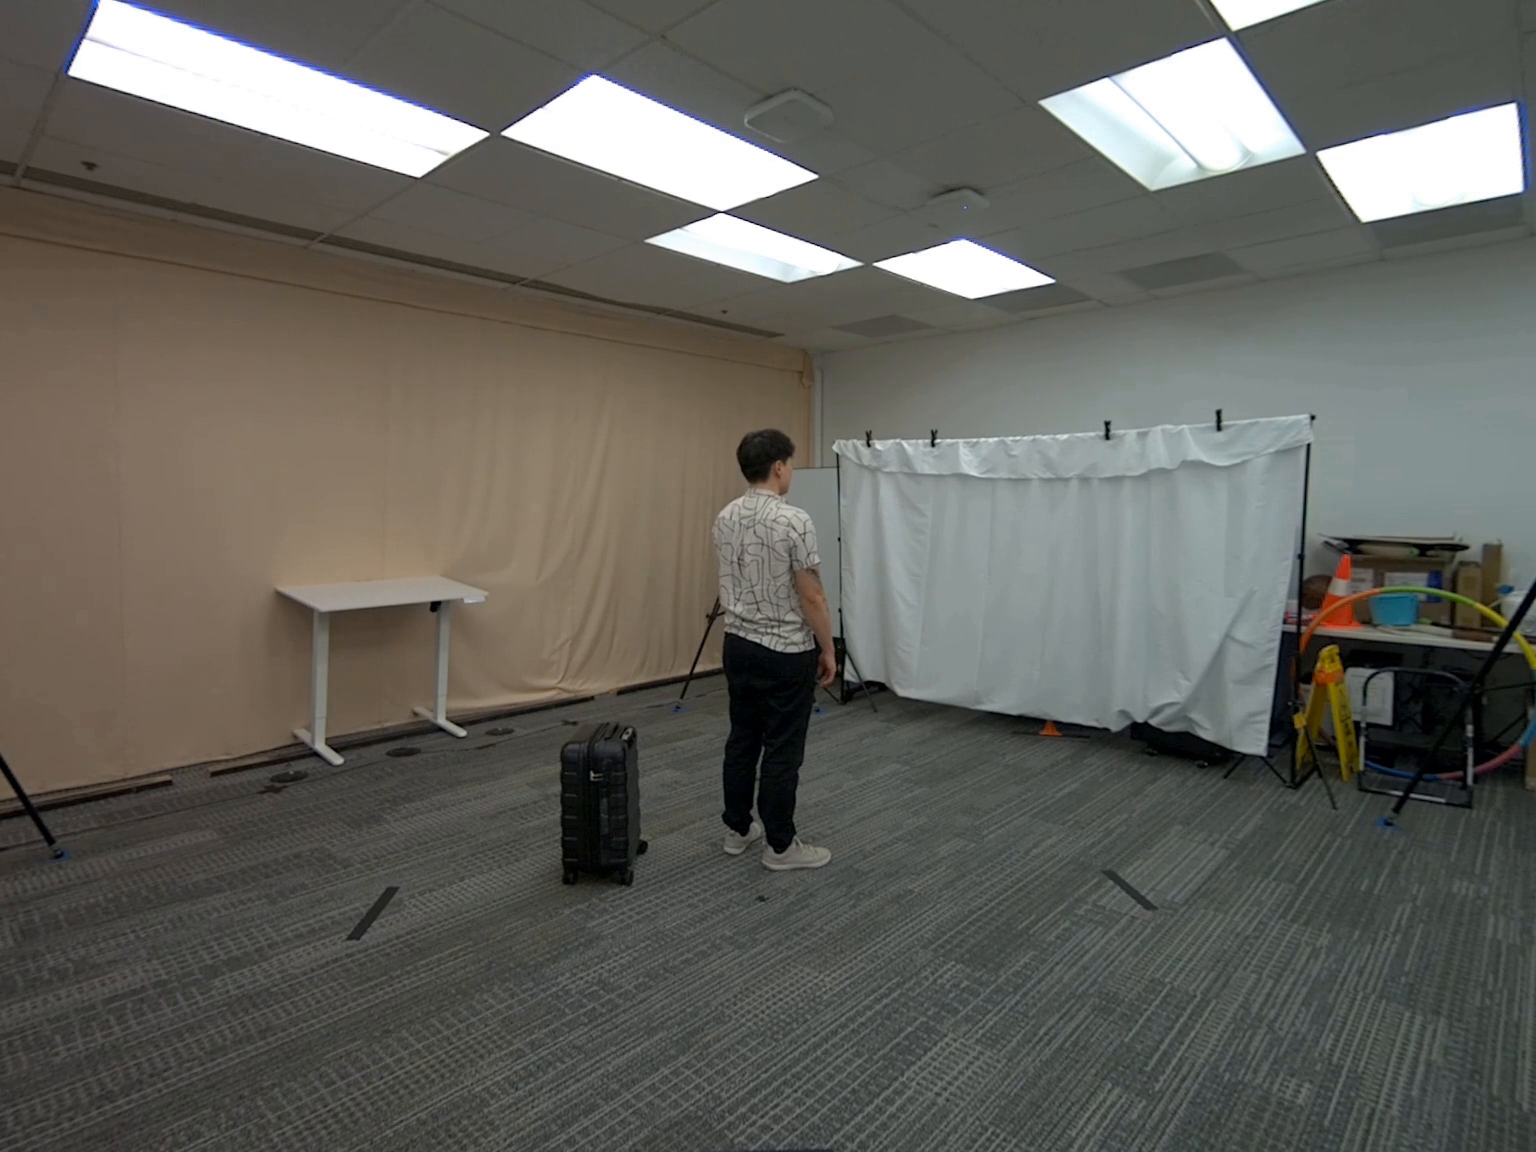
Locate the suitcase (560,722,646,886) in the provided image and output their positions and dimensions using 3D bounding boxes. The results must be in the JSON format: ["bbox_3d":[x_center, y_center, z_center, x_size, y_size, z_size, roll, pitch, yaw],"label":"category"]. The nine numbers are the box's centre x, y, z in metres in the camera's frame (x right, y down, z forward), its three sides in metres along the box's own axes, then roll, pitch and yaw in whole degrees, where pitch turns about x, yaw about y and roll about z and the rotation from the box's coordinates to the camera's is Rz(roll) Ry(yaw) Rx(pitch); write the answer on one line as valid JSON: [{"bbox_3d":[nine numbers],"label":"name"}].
[{"bbox_3d":[-0.631,0.856,3.224,0.250,0.548,0.374,0,5,4],"label":"suitcase"}]
